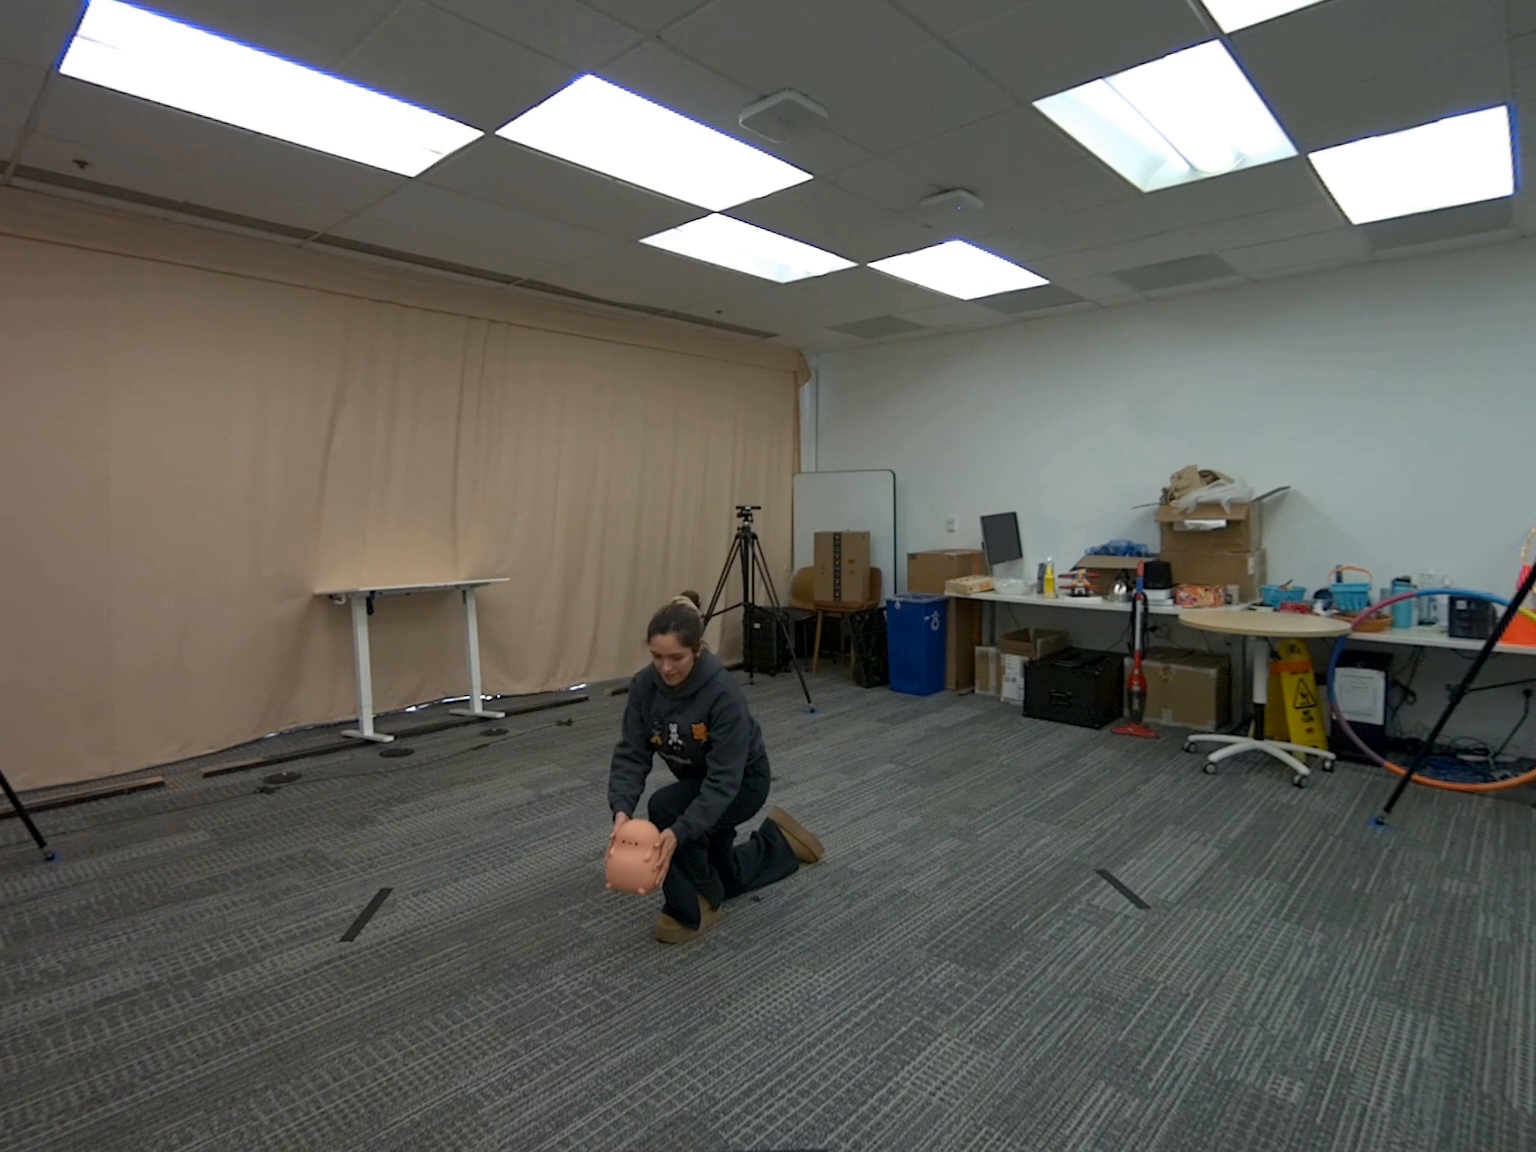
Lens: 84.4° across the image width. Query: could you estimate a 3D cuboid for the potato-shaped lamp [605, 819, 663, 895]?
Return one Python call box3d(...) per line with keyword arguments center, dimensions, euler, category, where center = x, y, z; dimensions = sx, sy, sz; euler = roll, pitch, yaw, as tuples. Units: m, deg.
box3d(center=(-0.365, 0.820, 2.478), dimensions=(0.168, 0.199, 0.167), euler=(-3, -9, 17), category="potato-shaped lamp")
